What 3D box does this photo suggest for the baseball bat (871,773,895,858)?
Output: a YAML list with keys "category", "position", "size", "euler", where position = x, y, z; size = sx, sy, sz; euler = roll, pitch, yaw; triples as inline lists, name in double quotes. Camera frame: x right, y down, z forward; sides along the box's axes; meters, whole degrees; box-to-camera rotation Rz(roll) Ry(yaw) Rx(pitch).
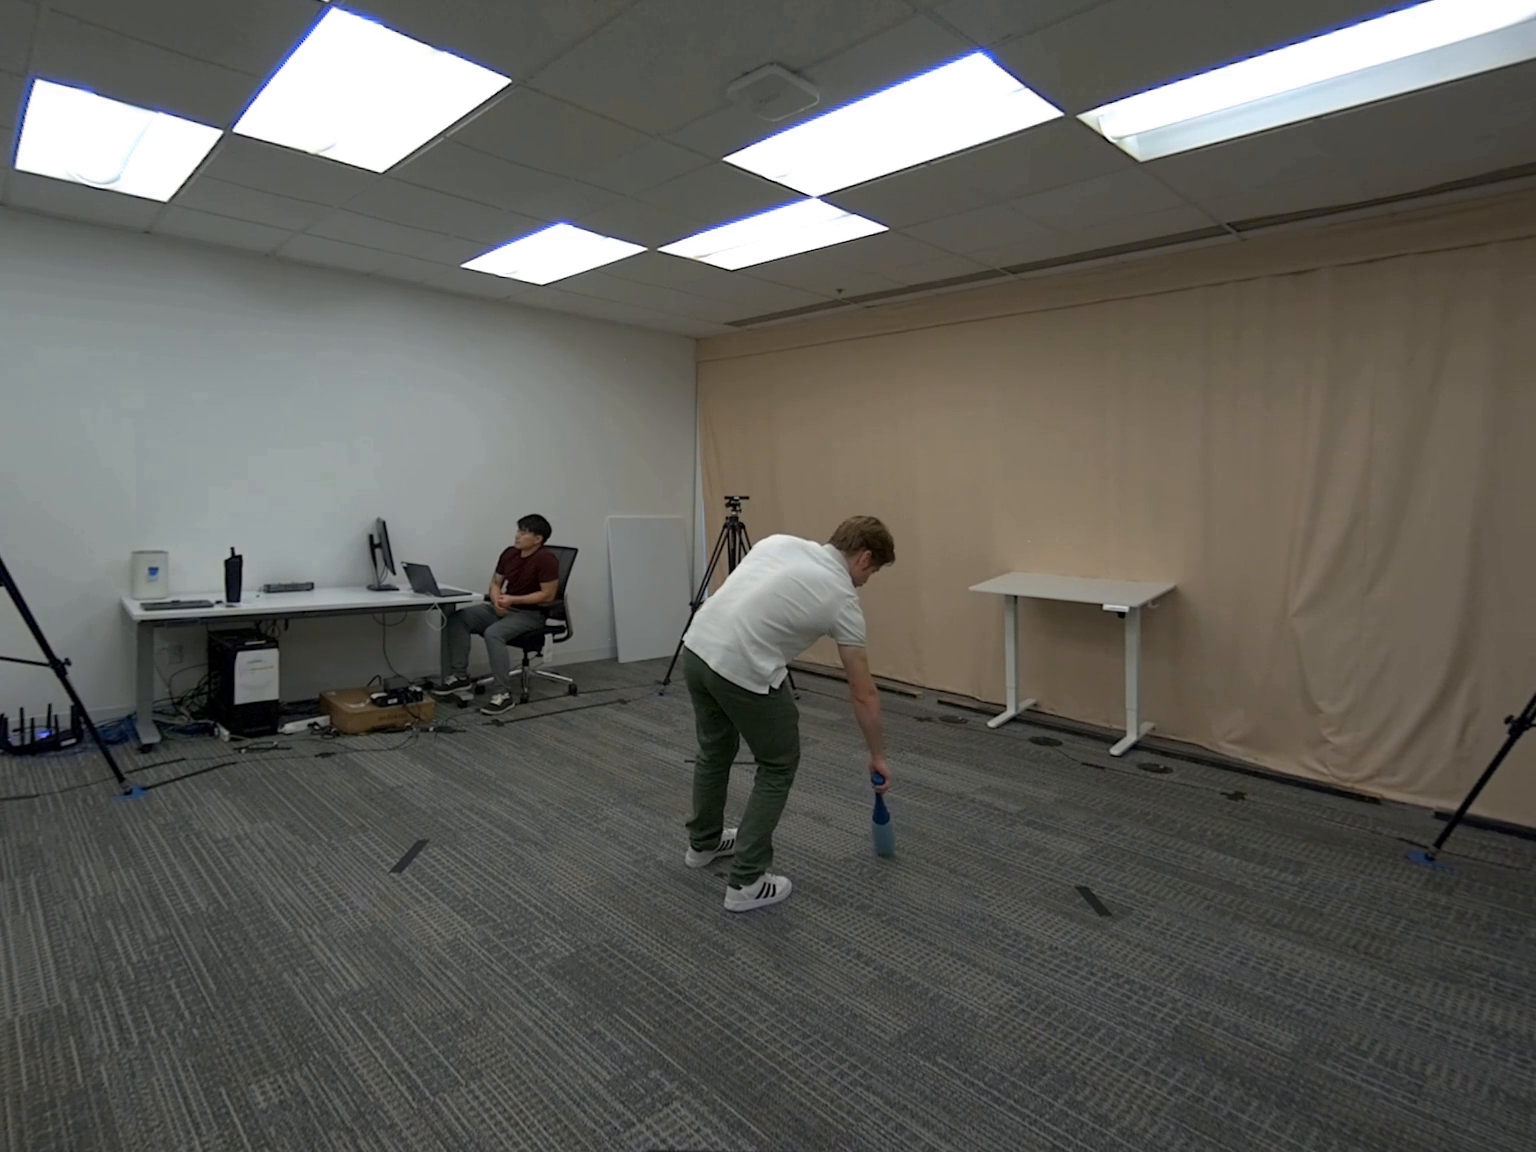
- category: "baseball bat"
  position: [0.410, 0.896, 3.154]
  size: [0.089, 0.528, 0.091]
  euler: [-7, 46, 6]
